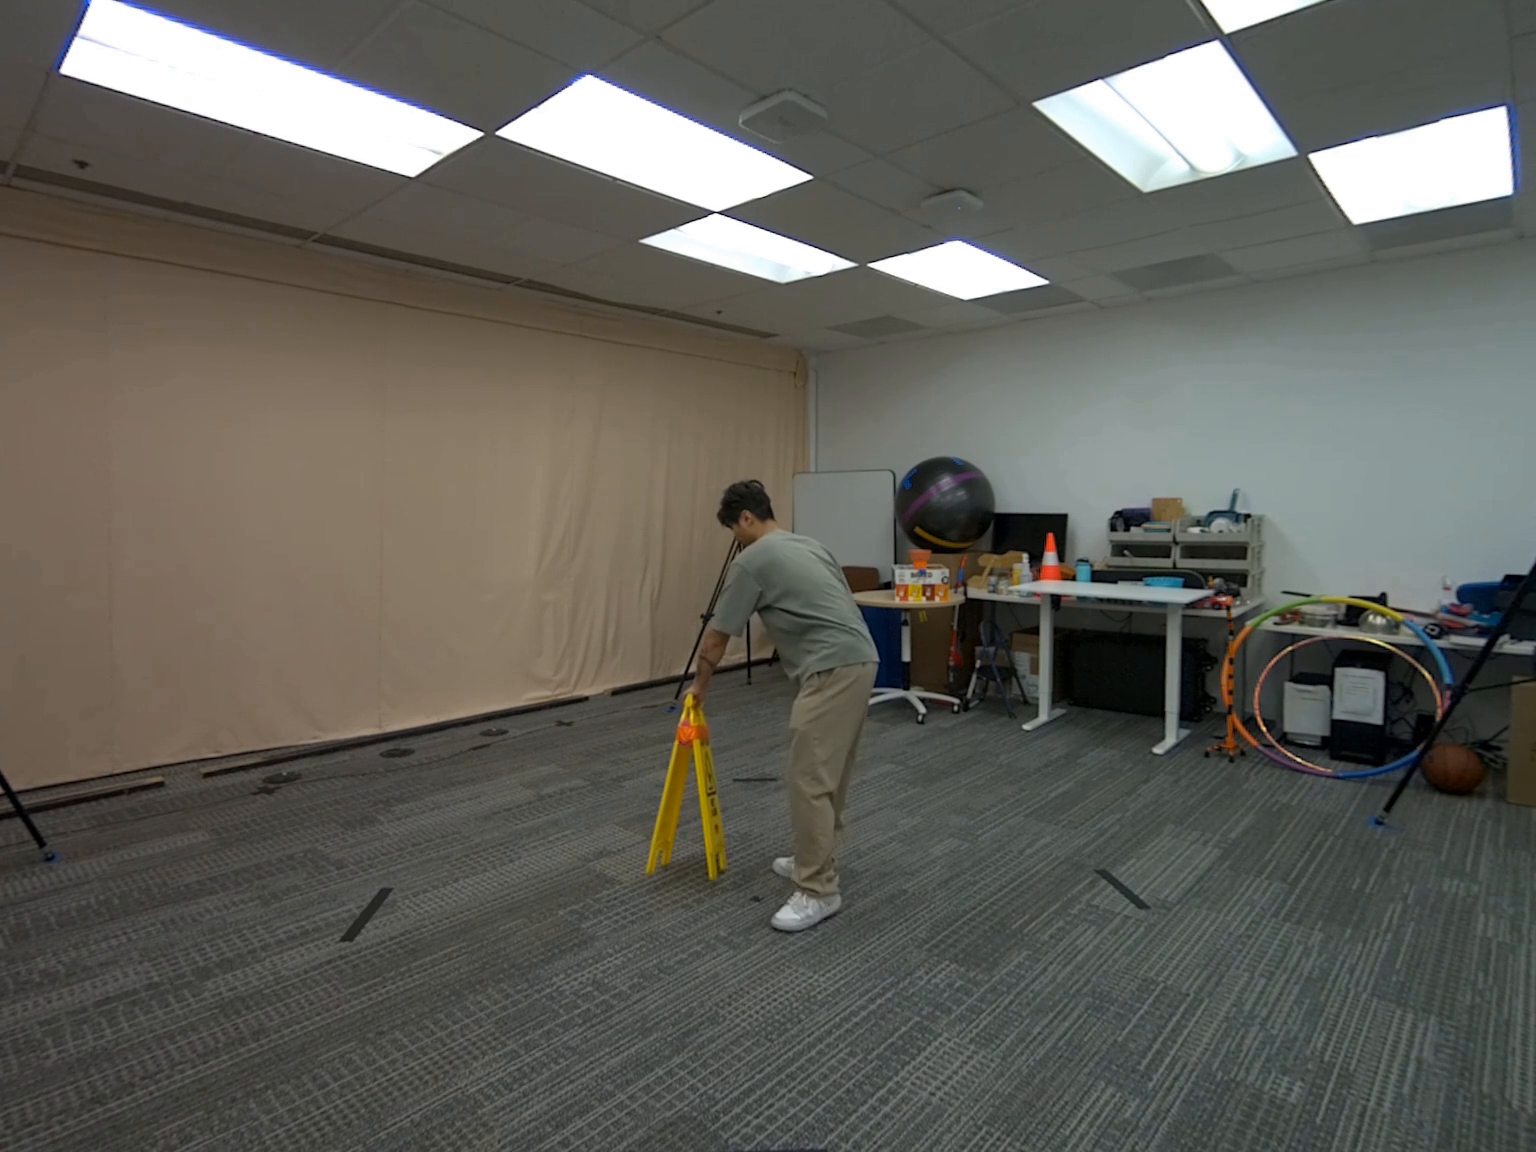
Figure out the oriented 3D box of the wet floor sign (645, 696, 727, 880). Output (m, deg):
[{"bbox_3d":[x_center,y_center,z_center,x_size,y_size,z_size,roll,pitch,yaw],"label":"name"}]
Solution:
[{"bbox_3d":[-0.295,0.793,3.203,0.293,0.651,0.277,-2,-12,9],"label":"wet floor sign"}]
